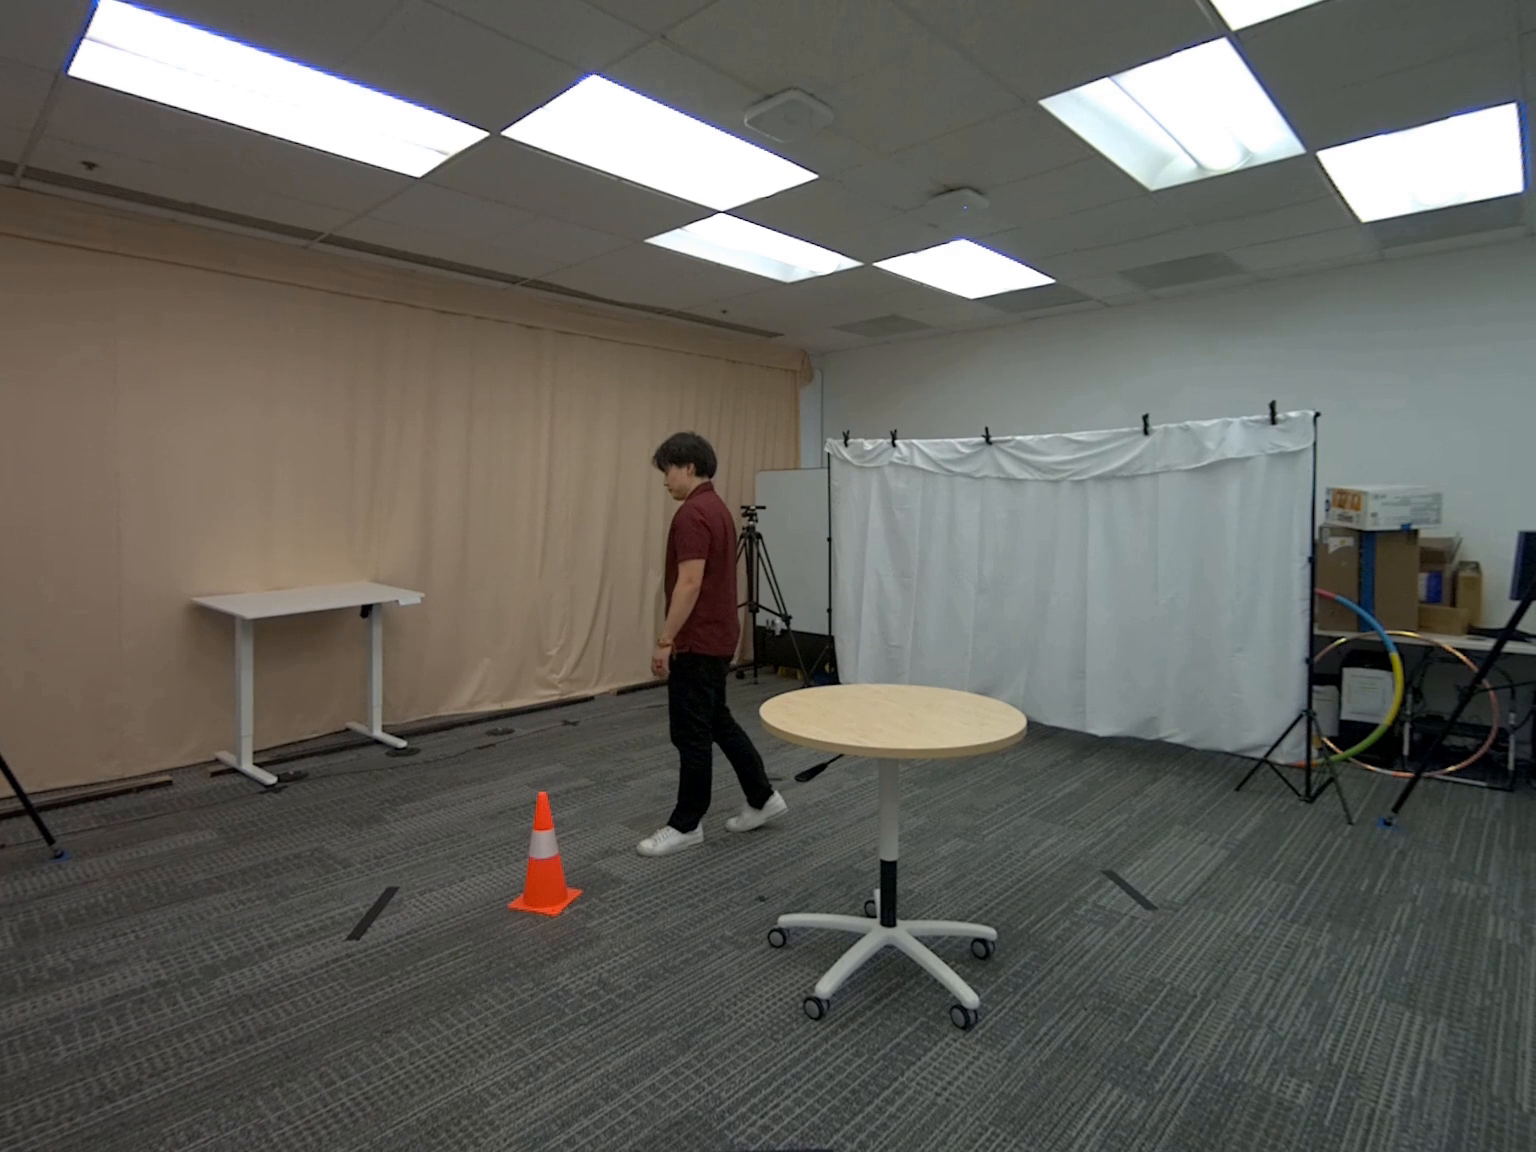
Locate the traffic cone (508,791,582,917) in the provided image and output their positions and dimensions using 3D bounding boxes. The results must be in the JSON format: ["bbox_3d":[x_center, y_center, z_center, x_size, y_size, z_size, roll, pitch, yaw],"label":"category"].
[{"bbox_3d":[-0.801,0.964,2.983,0.208,0.383,0.201,-1,2,21],"label":"traffic cone"}]
